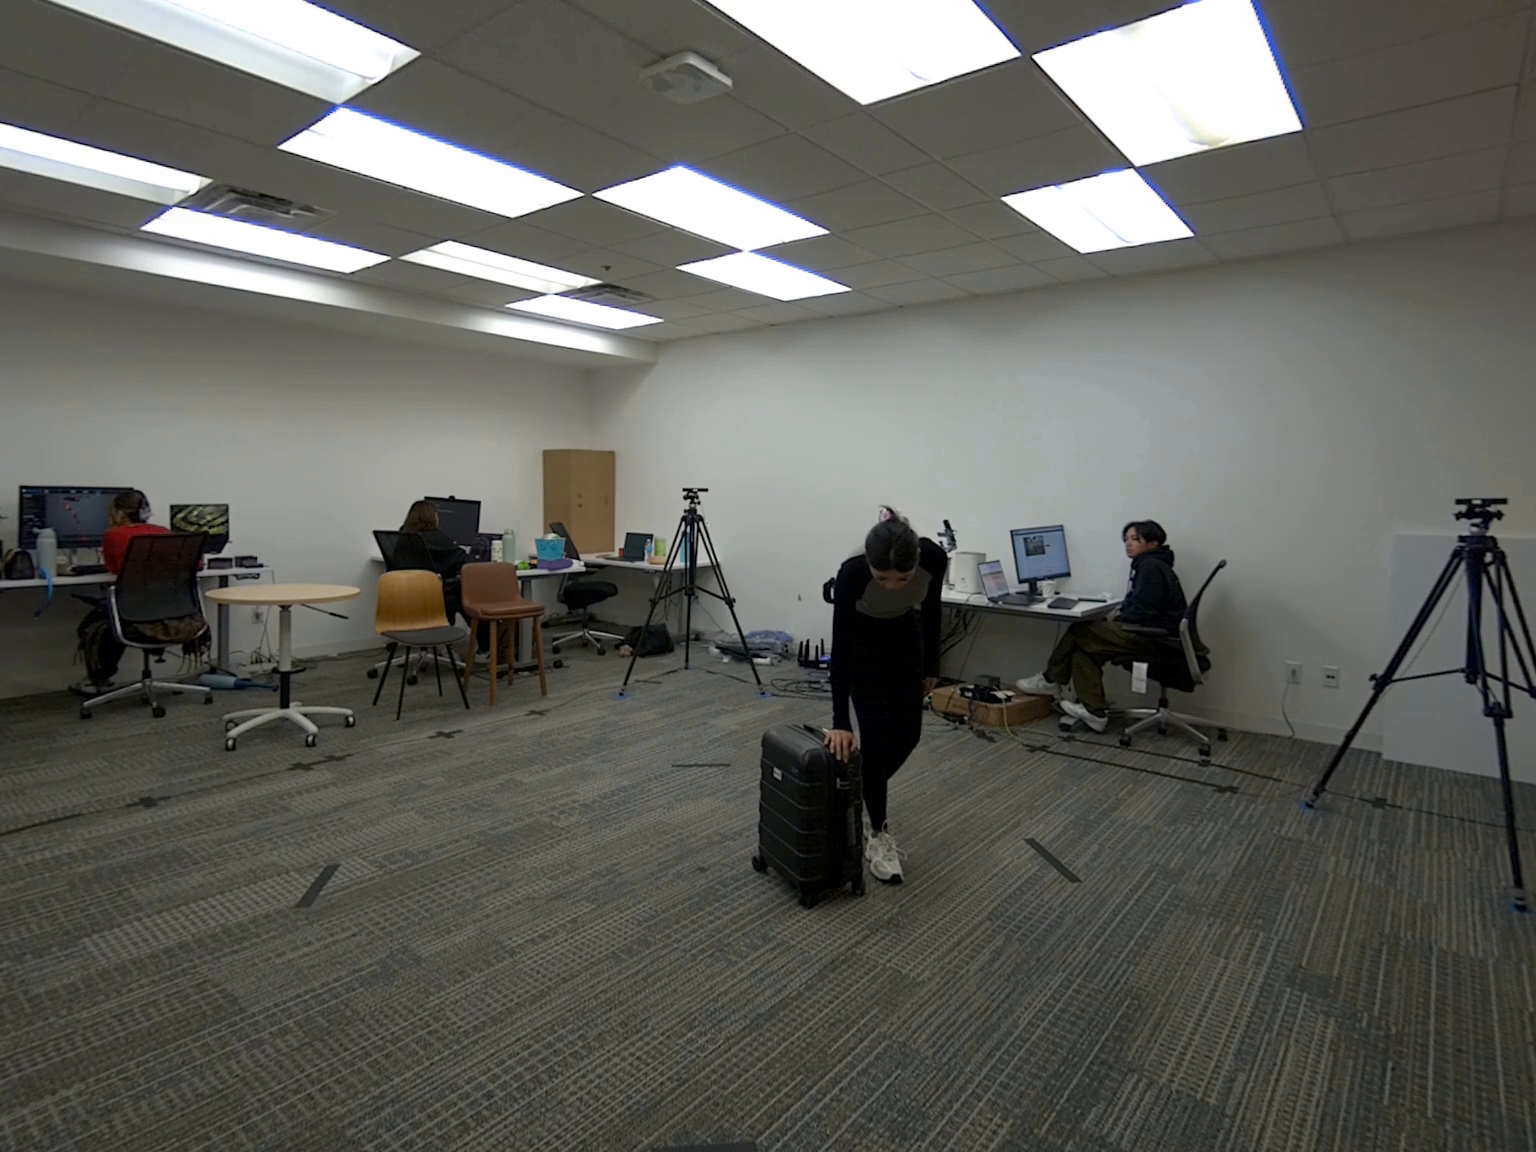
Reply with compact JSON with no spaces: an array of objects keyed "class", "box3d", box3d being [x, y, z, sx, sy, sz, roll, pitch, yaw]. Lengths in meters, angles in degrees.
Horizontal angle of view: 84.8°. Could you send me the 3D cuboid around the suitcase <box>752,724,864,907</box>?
[{"class":"suitcase","box3d":[0.137,0.811,2.989,0.242,0.547,0.386,-2,6,-27]}]
